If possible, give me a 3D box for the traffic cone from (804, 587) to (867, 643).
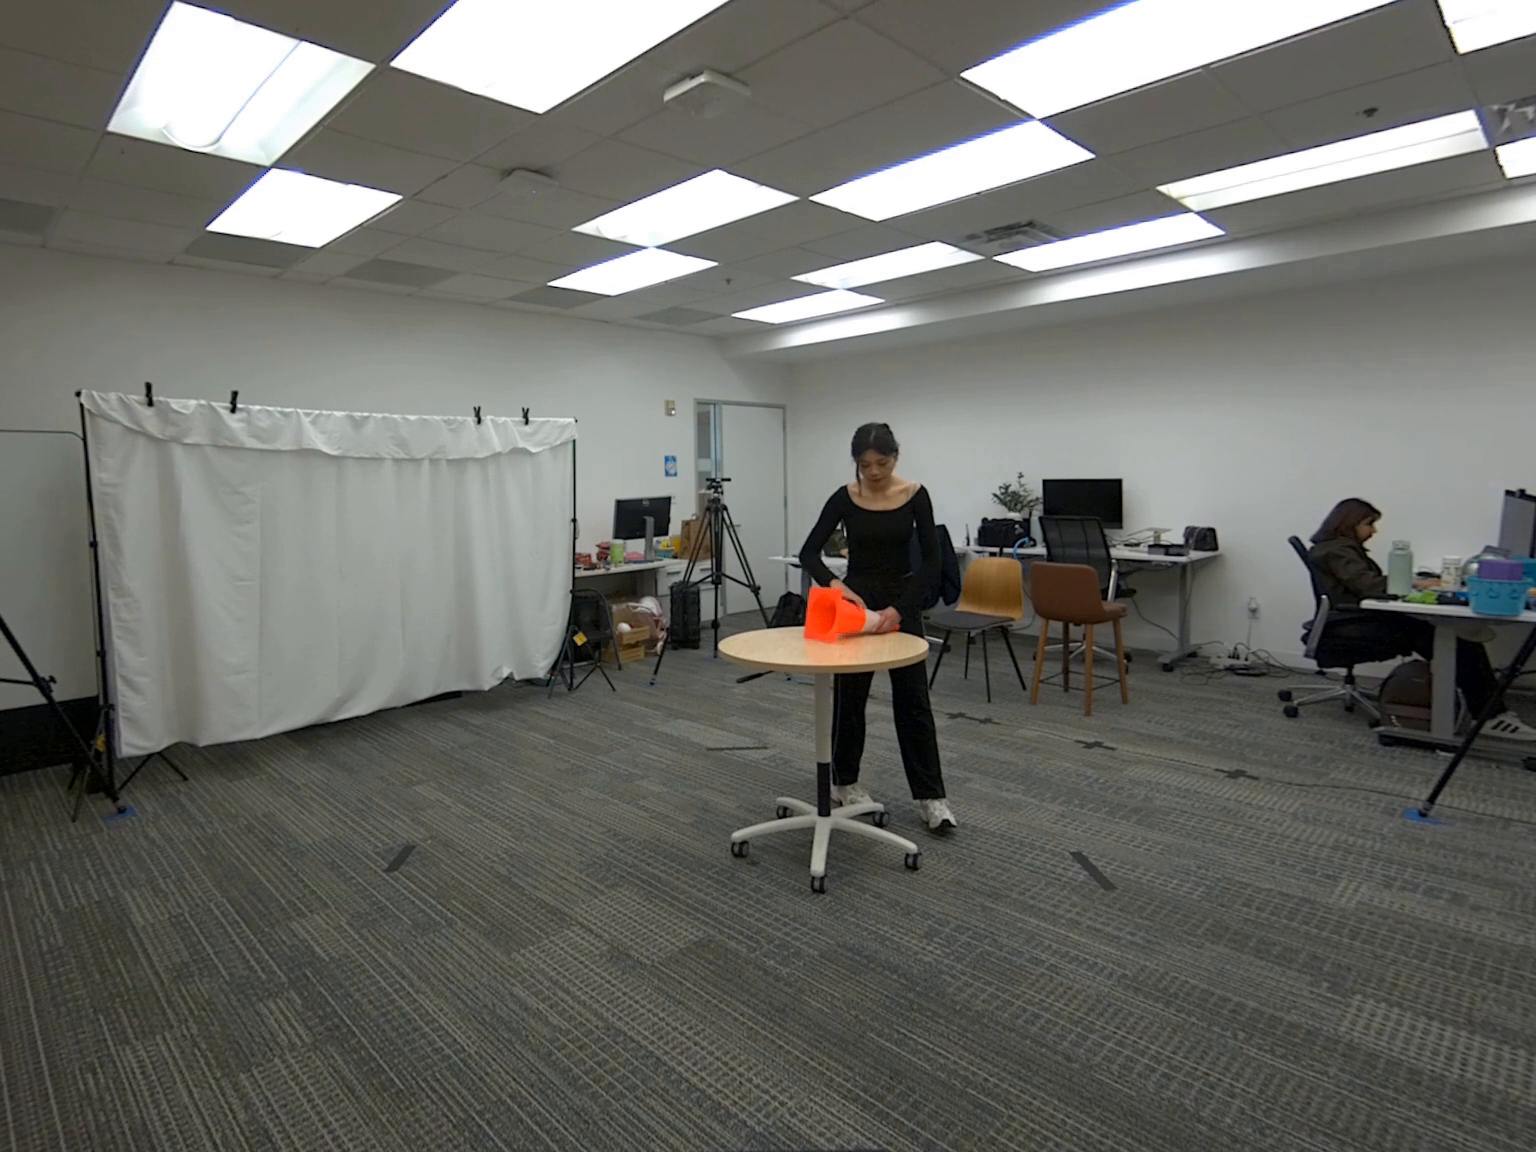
[{"bbox_3d":[0.361,0.175,3.275,0.373,0.204,0.210,12,-5,-27],"label":"traffic cone"}]
